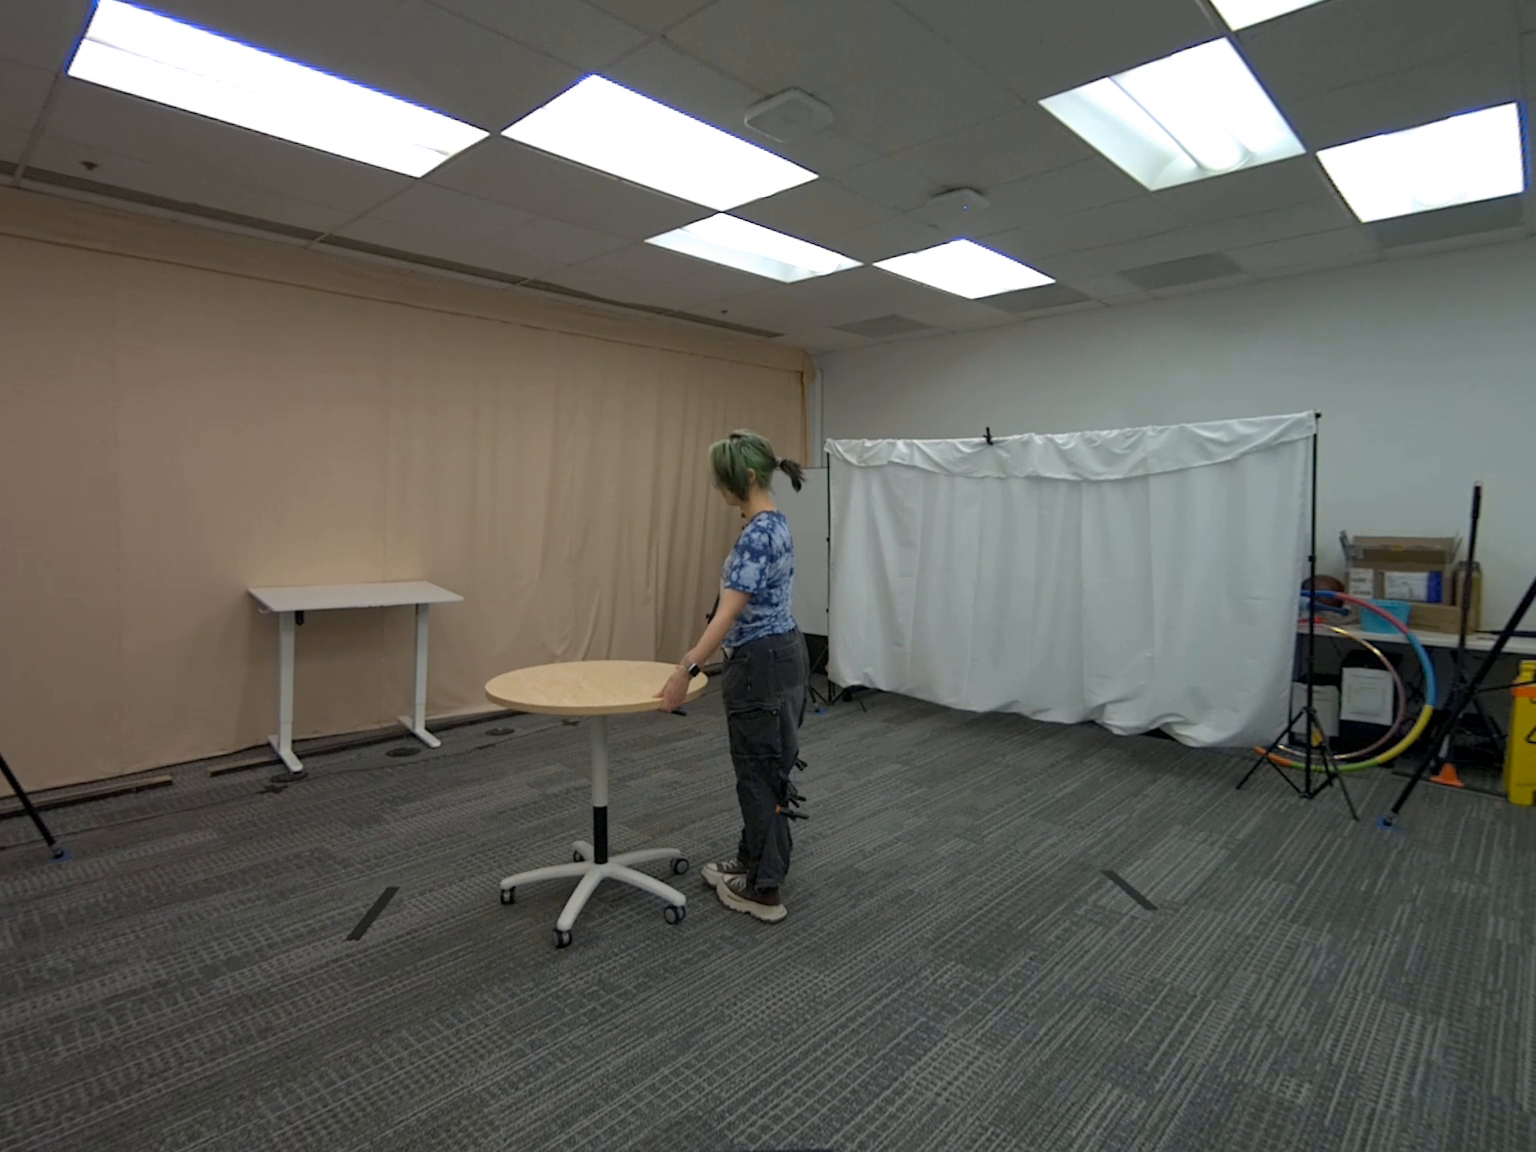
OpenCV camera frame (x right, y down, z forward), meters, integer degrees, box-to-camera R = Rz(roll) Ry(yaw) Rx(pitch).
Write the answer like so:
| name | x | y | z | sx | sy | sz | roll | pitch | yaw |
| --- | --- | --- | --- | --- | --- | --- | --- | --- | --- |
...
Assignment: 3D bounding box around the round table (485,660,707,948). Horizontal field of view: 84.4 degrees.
| name | x | y | z | sx | sy | sz | roll | pitch | yaw |
| --- | --- | --- | --- | --- | --- | --- | --- | --- | --- |
| round table | -0.586 | 0.764 | 2.963 | 0.763 | 0.792 | 0.766 | -1 | 4 | -2 |
